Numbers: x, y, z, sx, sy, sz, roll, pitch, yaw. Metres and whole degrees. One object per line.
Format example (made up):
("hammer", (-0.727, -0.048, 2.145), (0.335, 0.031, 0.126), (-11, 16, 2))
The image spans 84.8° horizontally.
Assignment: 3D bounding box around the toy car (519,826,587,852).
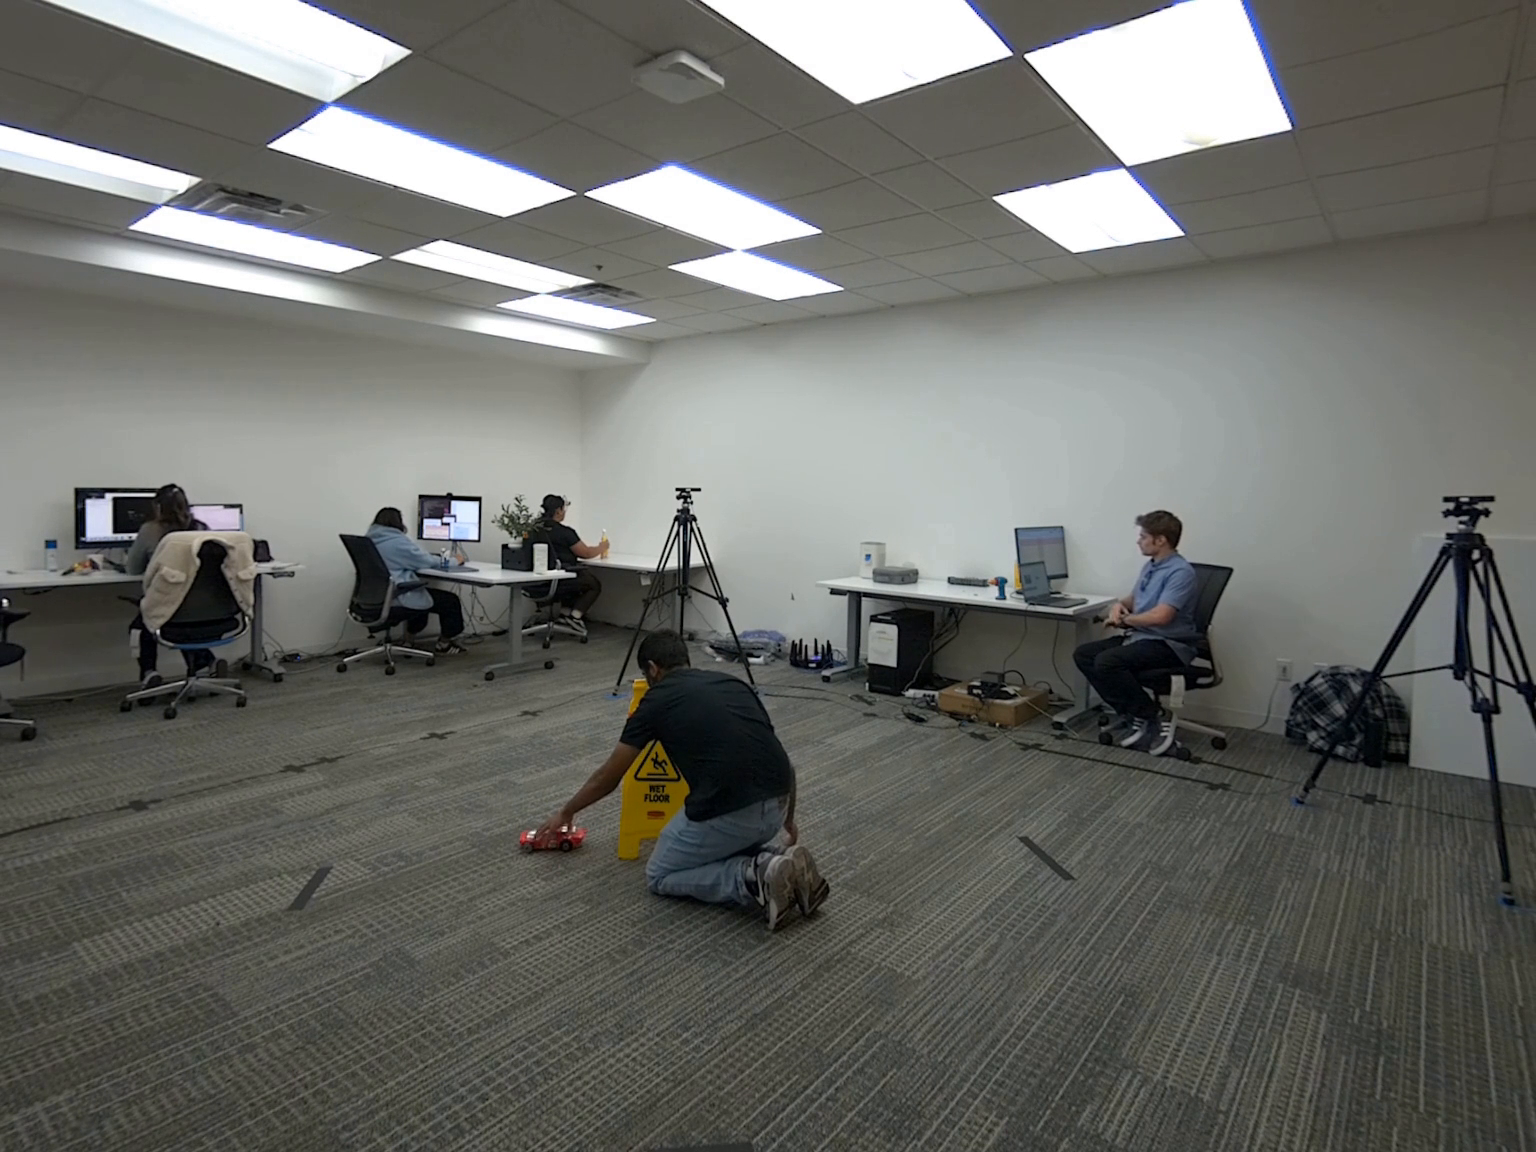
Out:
("toy car", (-0.829, 1.008, 3.282), (0.253, 0.083, 0.131), (-10, 6, -5))
